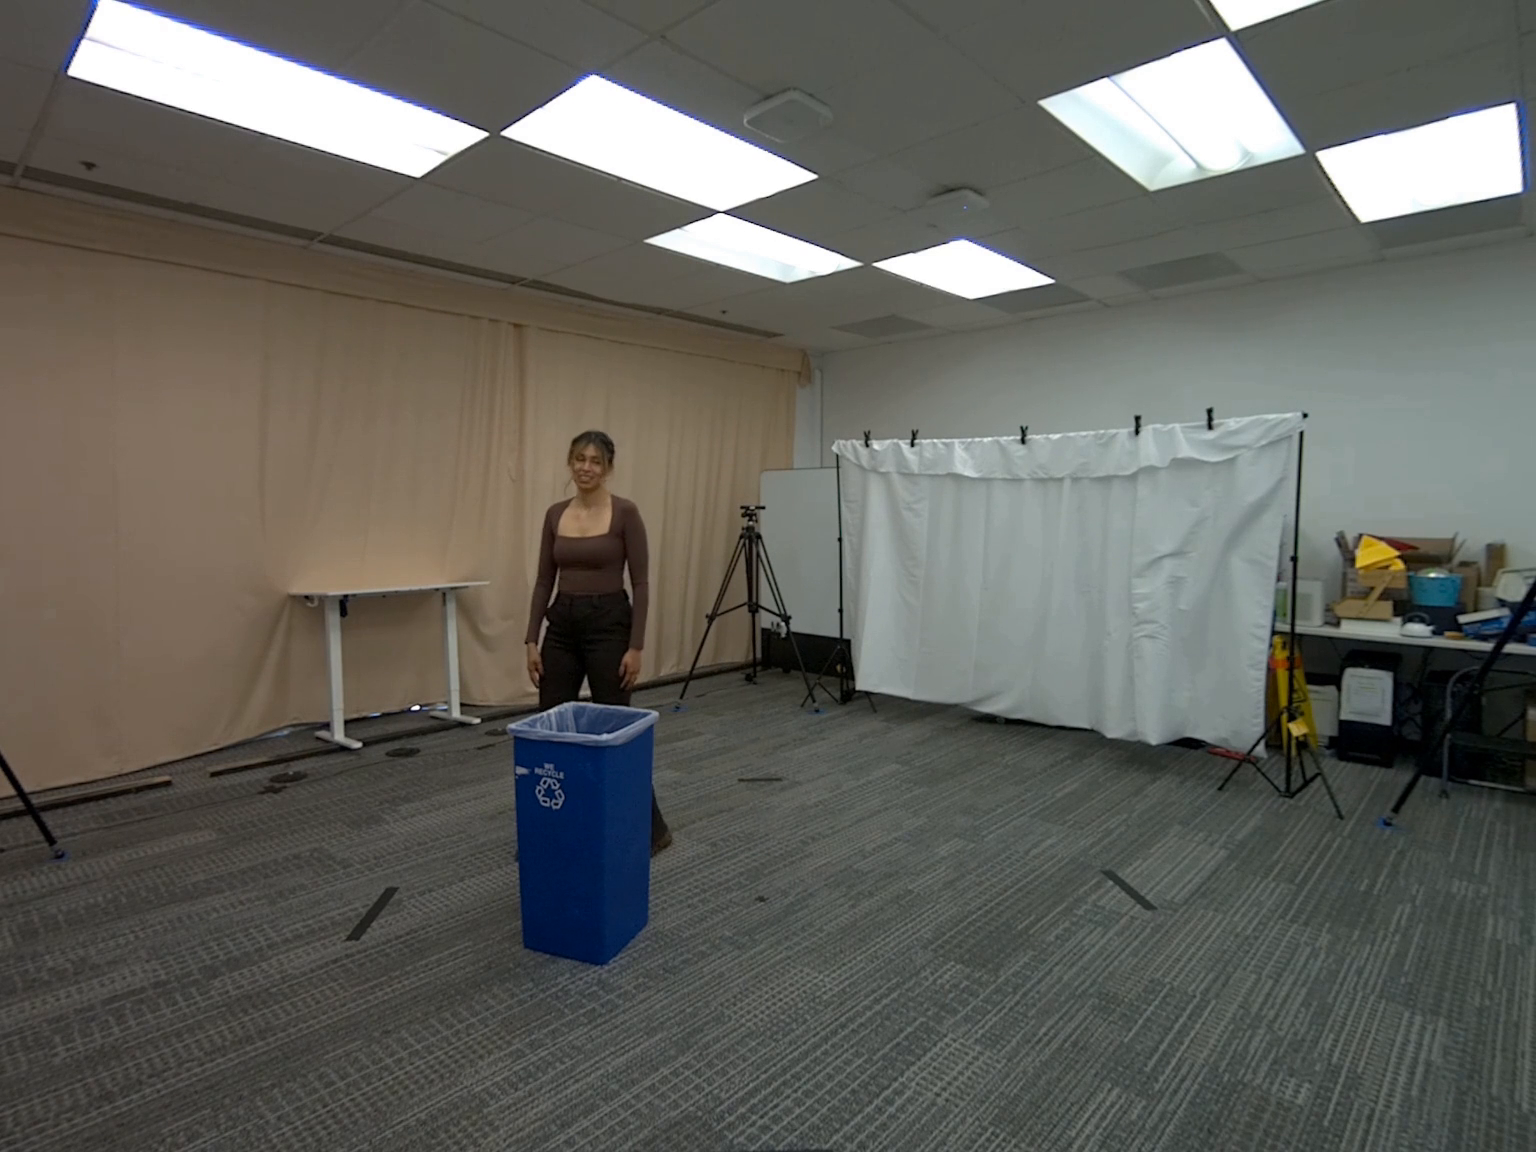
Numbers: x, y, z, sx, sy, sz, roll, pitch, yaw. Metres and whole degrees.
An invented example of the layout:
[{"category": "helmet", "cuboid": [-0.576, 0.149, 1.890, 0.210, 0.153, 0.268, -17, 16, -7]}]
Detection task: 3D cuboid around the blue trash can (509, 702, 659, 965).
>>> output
[{"category": "blue trash can", "cuboid": [-0.578, 0.814, 2.720, 0.383, 0.712, 0.370, 1, 4, 22]}]
